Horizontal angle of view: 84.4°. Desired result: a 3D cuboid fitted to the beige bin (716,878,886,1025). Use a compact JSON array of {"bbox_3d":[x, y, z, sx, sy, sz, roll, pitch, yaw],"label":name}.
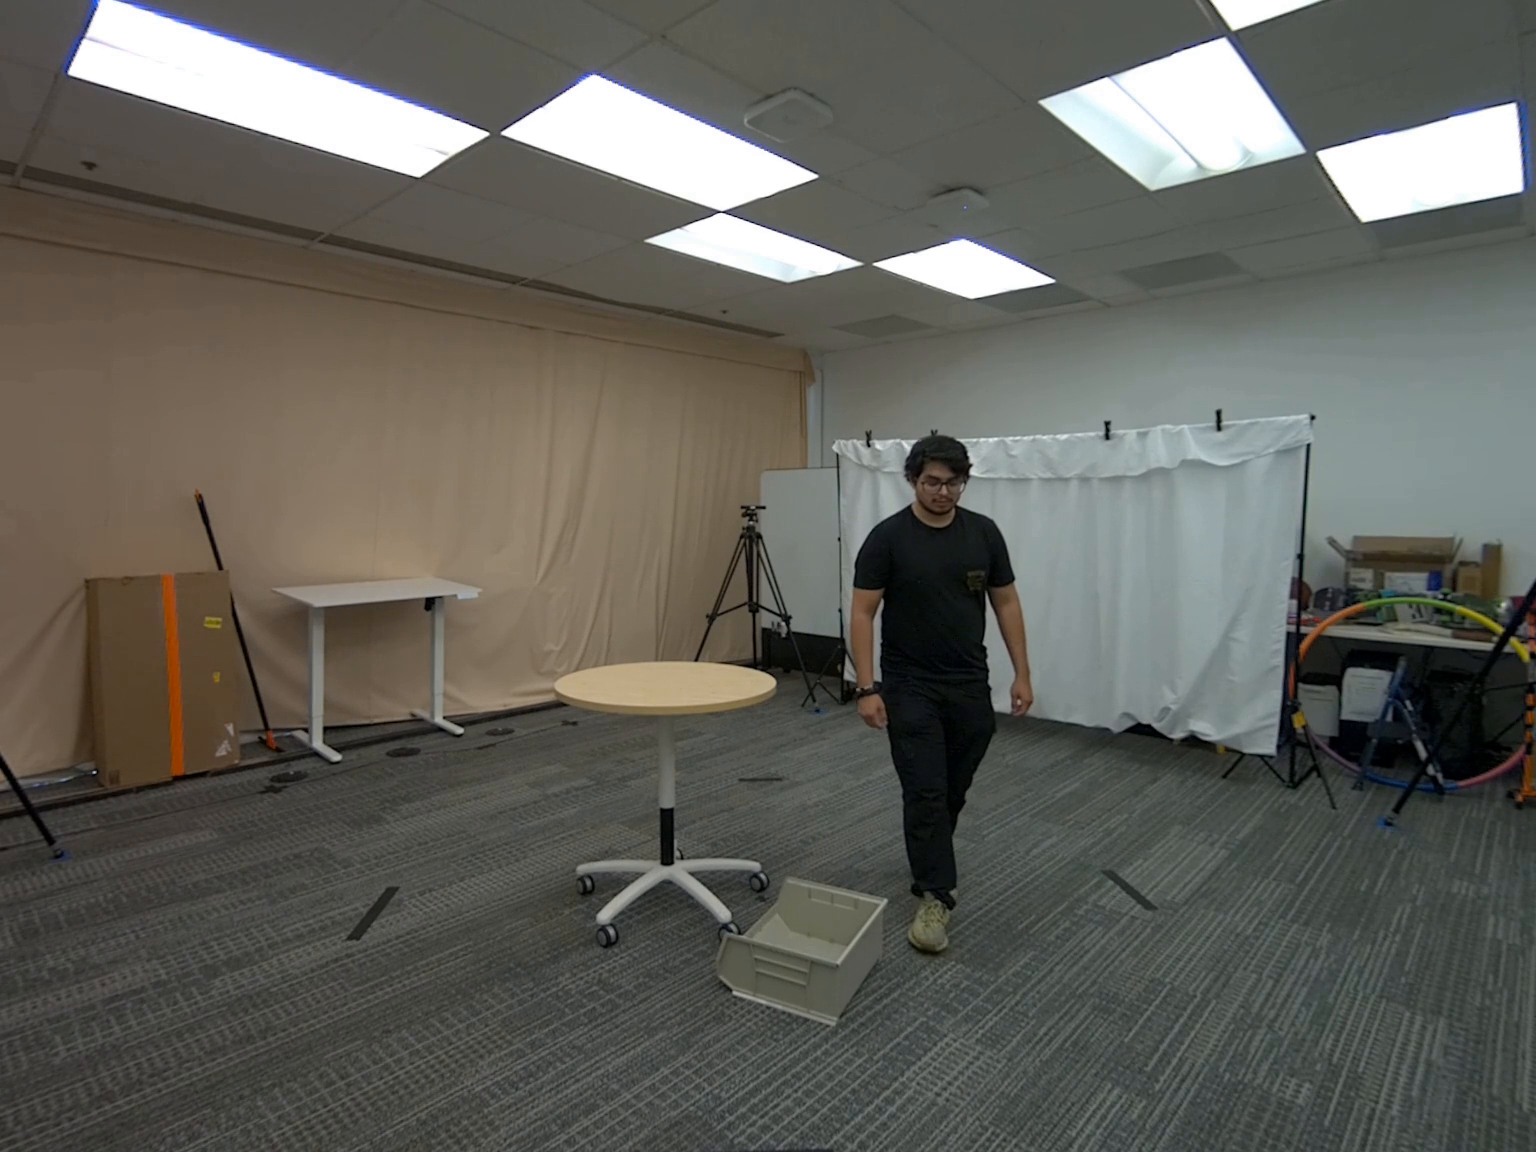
[{"bbox_3d":[0.113,1.096,2.502,0.388,0.188,0.412,3,5,27],"label":"beige bin"}]
